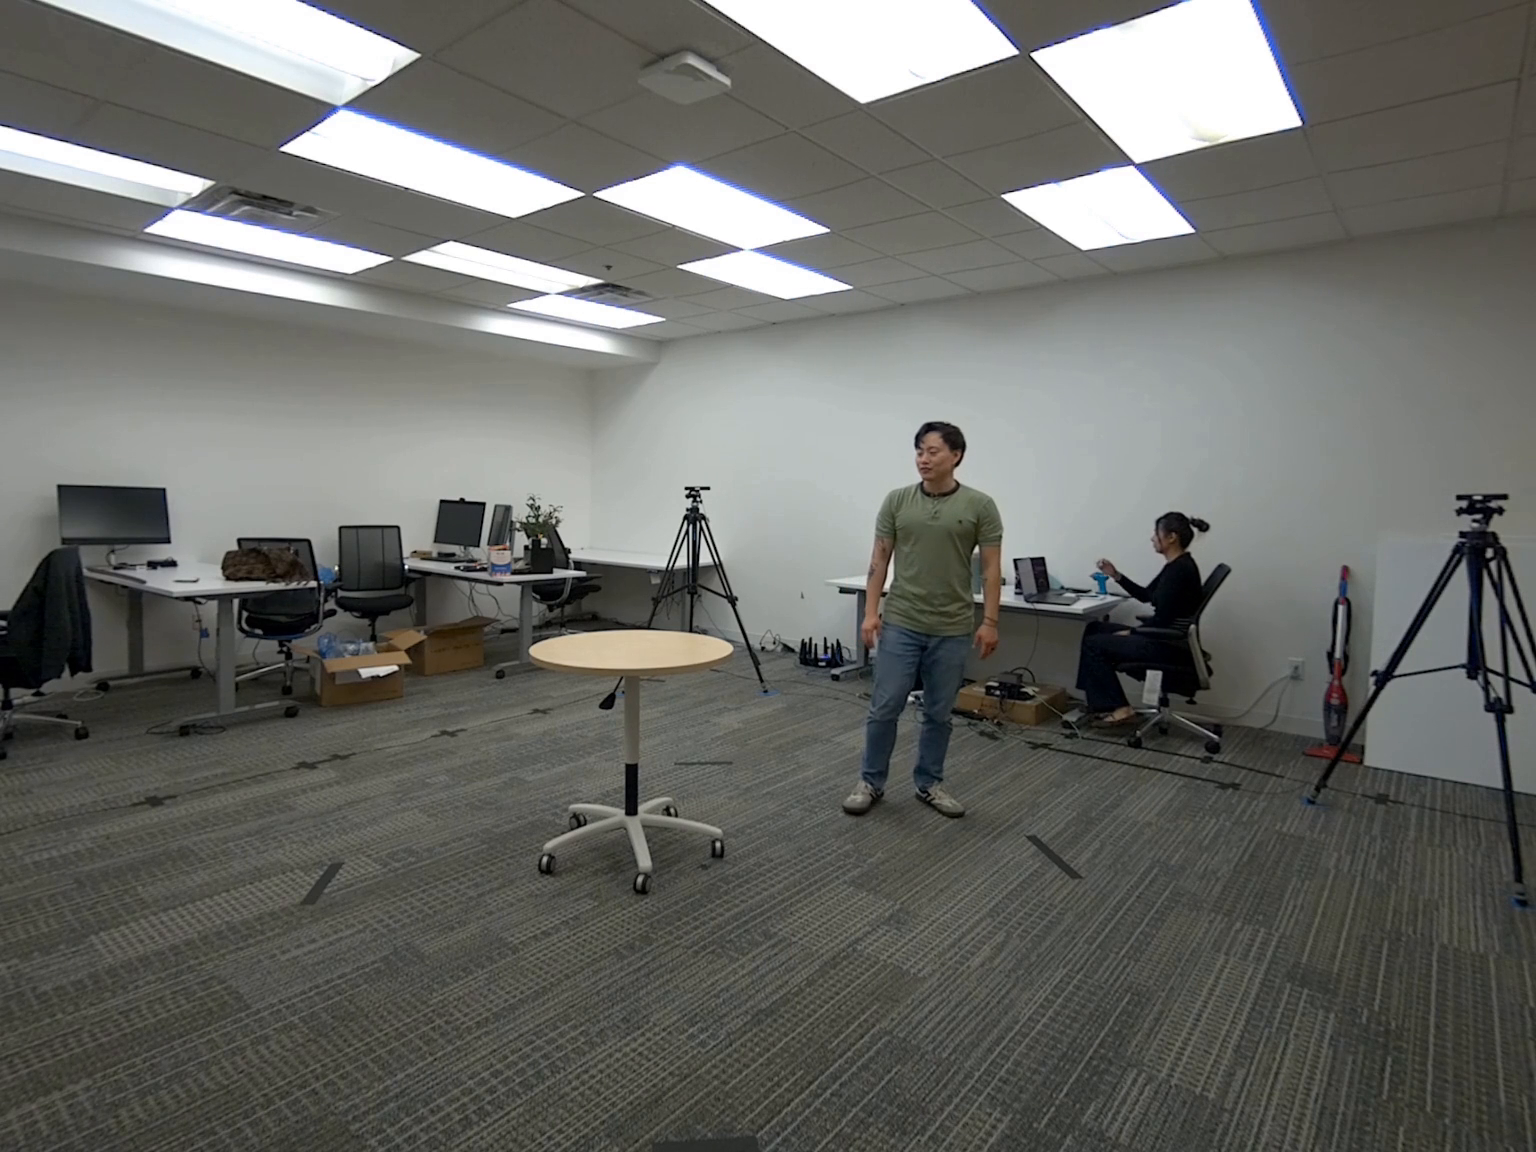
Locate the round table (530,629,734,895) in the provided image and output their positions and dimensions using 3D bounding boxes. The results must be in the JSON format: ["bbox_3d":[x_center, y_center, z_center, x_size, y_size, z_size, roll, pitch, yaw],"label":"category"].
[{"bbox_3d":[-0.529,0.661,3.234,0.763,0.791,0.768,0,4,-2],"label":"round table"}]
